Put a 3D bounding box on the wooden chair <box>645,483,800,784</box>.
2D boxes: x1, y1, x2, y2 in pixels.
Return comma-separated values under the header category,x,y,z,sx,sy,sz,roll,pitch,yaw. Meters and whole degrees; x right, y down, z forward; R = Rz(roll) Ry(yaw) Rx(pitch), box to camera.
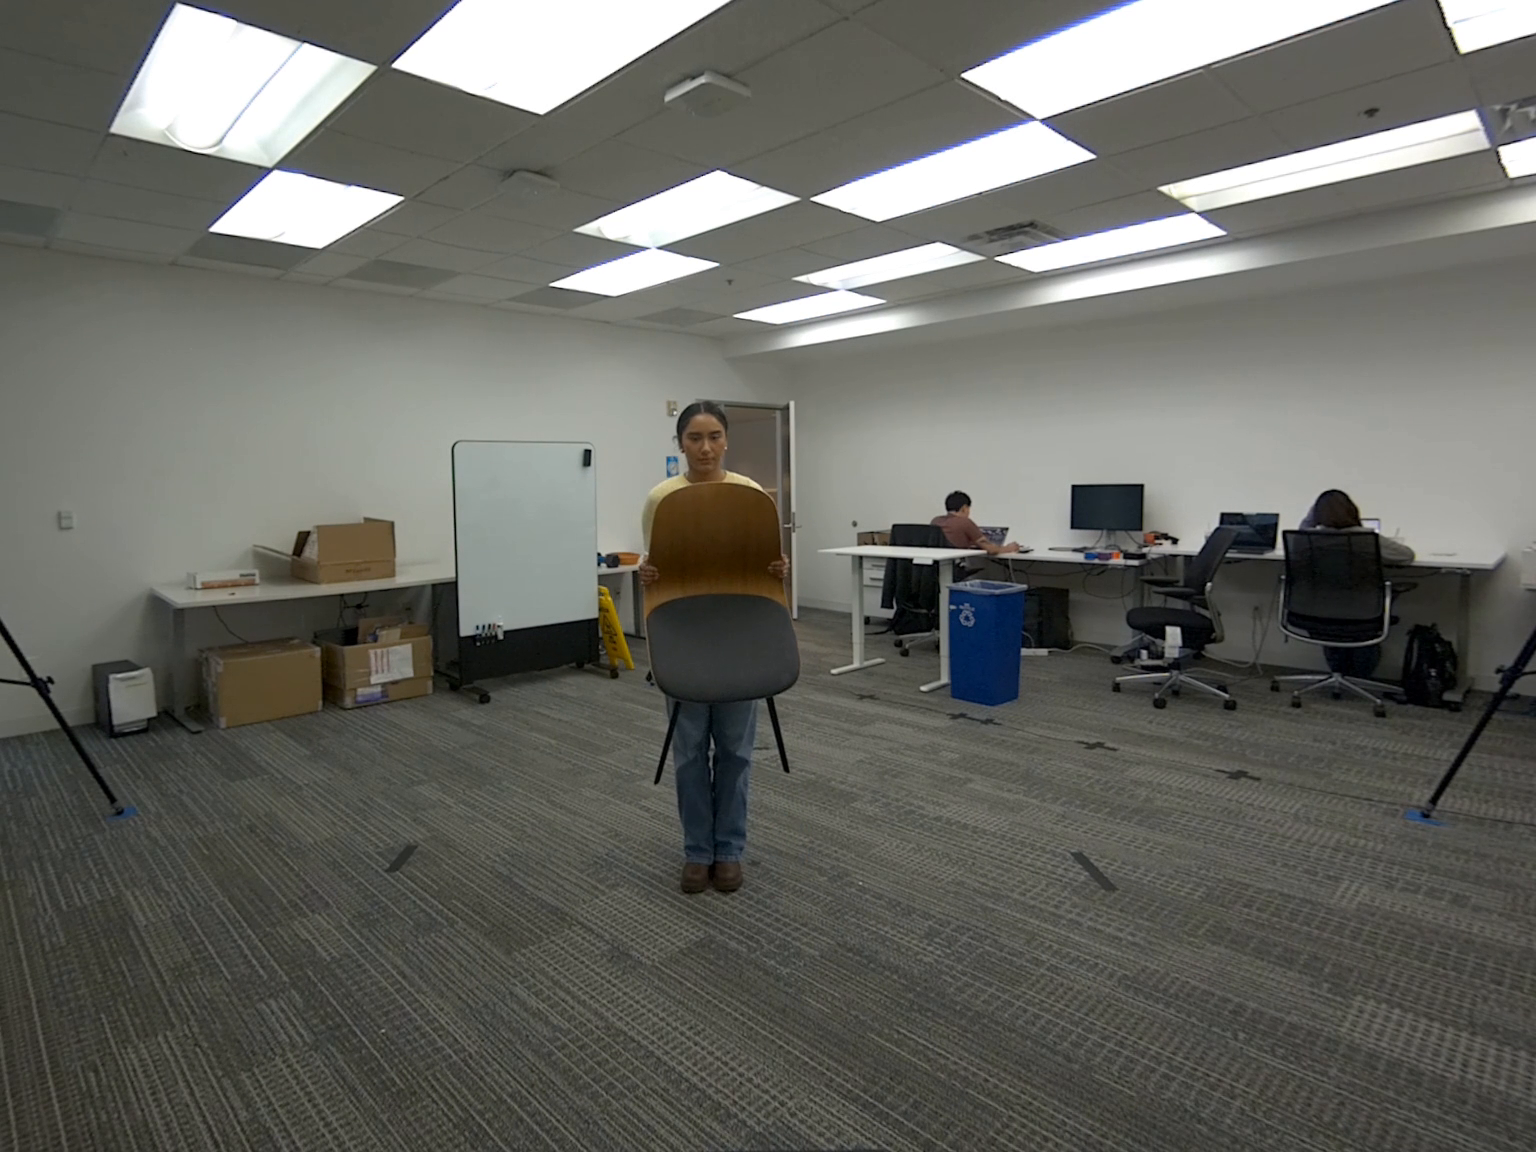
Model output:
category,x,y,z,sx,sy,sz,roll,pitch,yaw
wooden chair,-0.160,0.215,2.718,0.474,0.857,0.540,-2,36,-9
